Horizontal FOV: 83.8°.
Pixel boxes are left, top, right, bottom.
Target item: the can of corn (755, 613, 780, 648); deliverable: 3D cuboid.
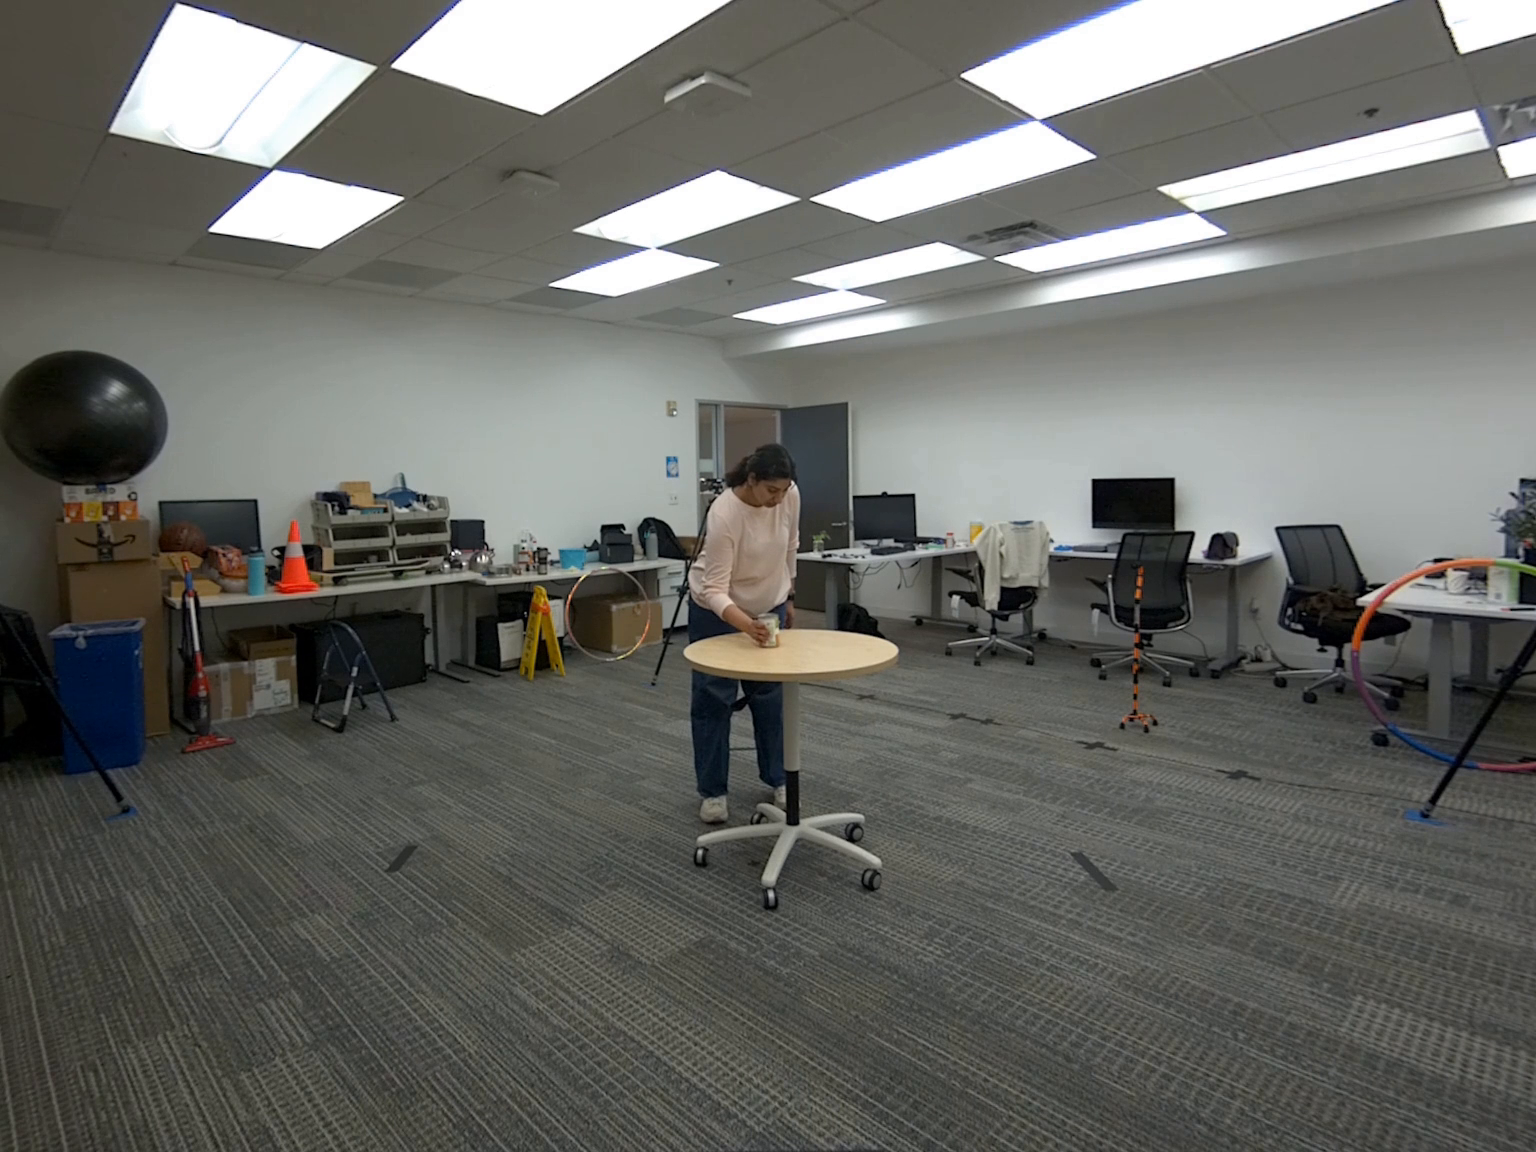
[{"bbox_3d":[-0.007,0.206,3.118,0.074,0.111,0.074,-10,2,-1],"label":"can of corn"}]
